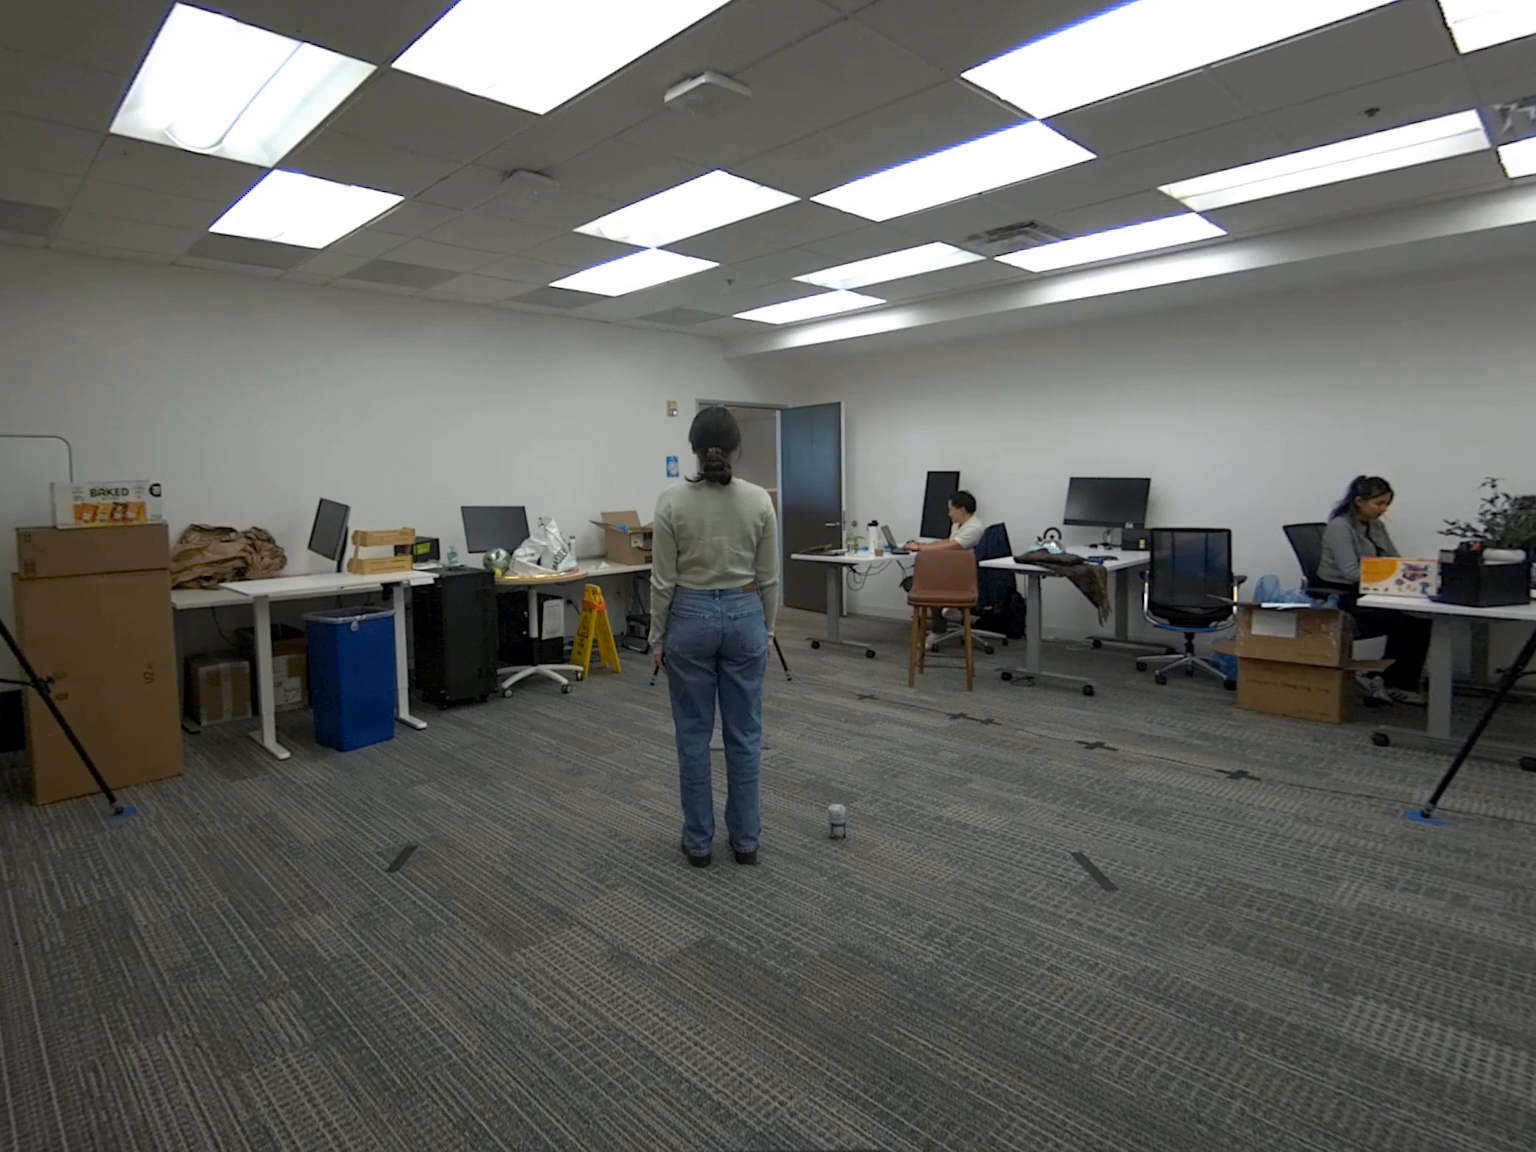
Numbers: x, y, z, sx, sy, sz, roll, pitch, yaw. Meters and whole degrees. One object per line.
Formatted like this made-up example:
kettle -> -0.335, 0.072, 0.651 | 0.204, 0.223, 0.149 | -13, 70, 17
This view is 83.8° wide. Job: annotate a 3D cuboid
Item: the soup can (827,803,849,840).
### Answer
soup can -> 0.272, 0.958, 3.315 | 0.067, 0.121, 0.067 | 0, 6, -2
